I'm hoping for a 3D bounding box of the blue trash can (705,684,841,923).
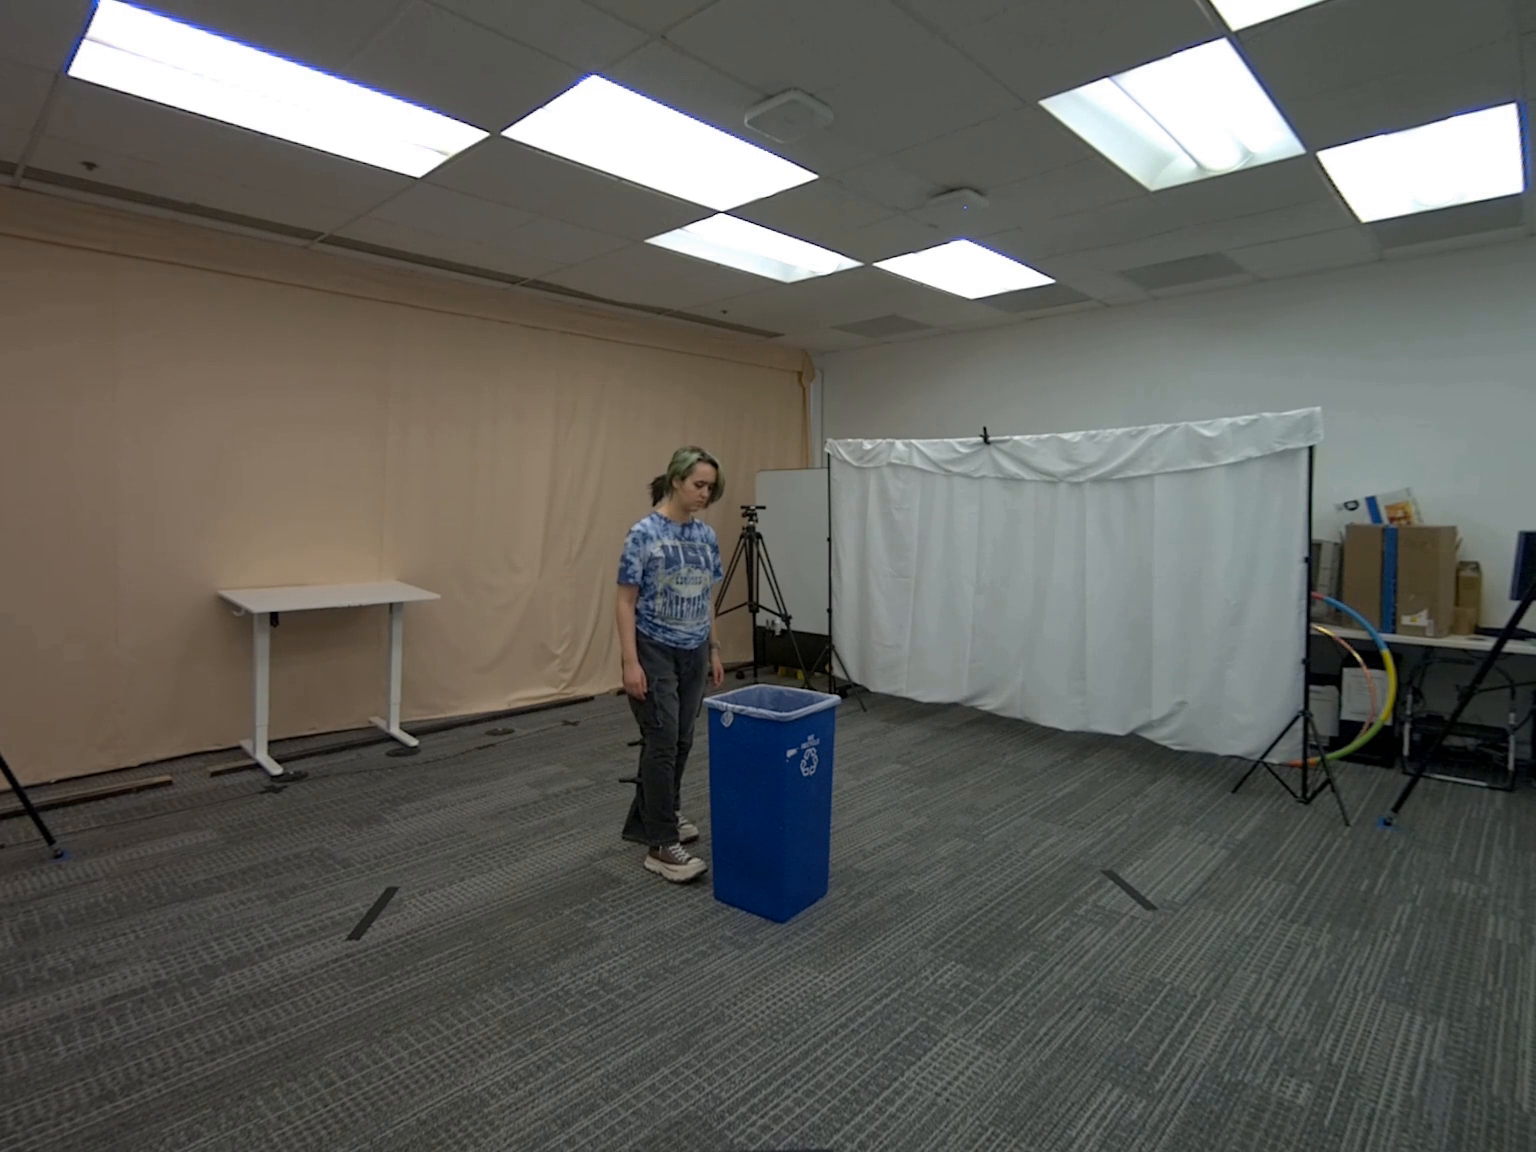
[{"bbox_3d":[0.018,0.784,2.993,0.390,0.712,0.363,3,5,37],"label":"blue trash can"}]
